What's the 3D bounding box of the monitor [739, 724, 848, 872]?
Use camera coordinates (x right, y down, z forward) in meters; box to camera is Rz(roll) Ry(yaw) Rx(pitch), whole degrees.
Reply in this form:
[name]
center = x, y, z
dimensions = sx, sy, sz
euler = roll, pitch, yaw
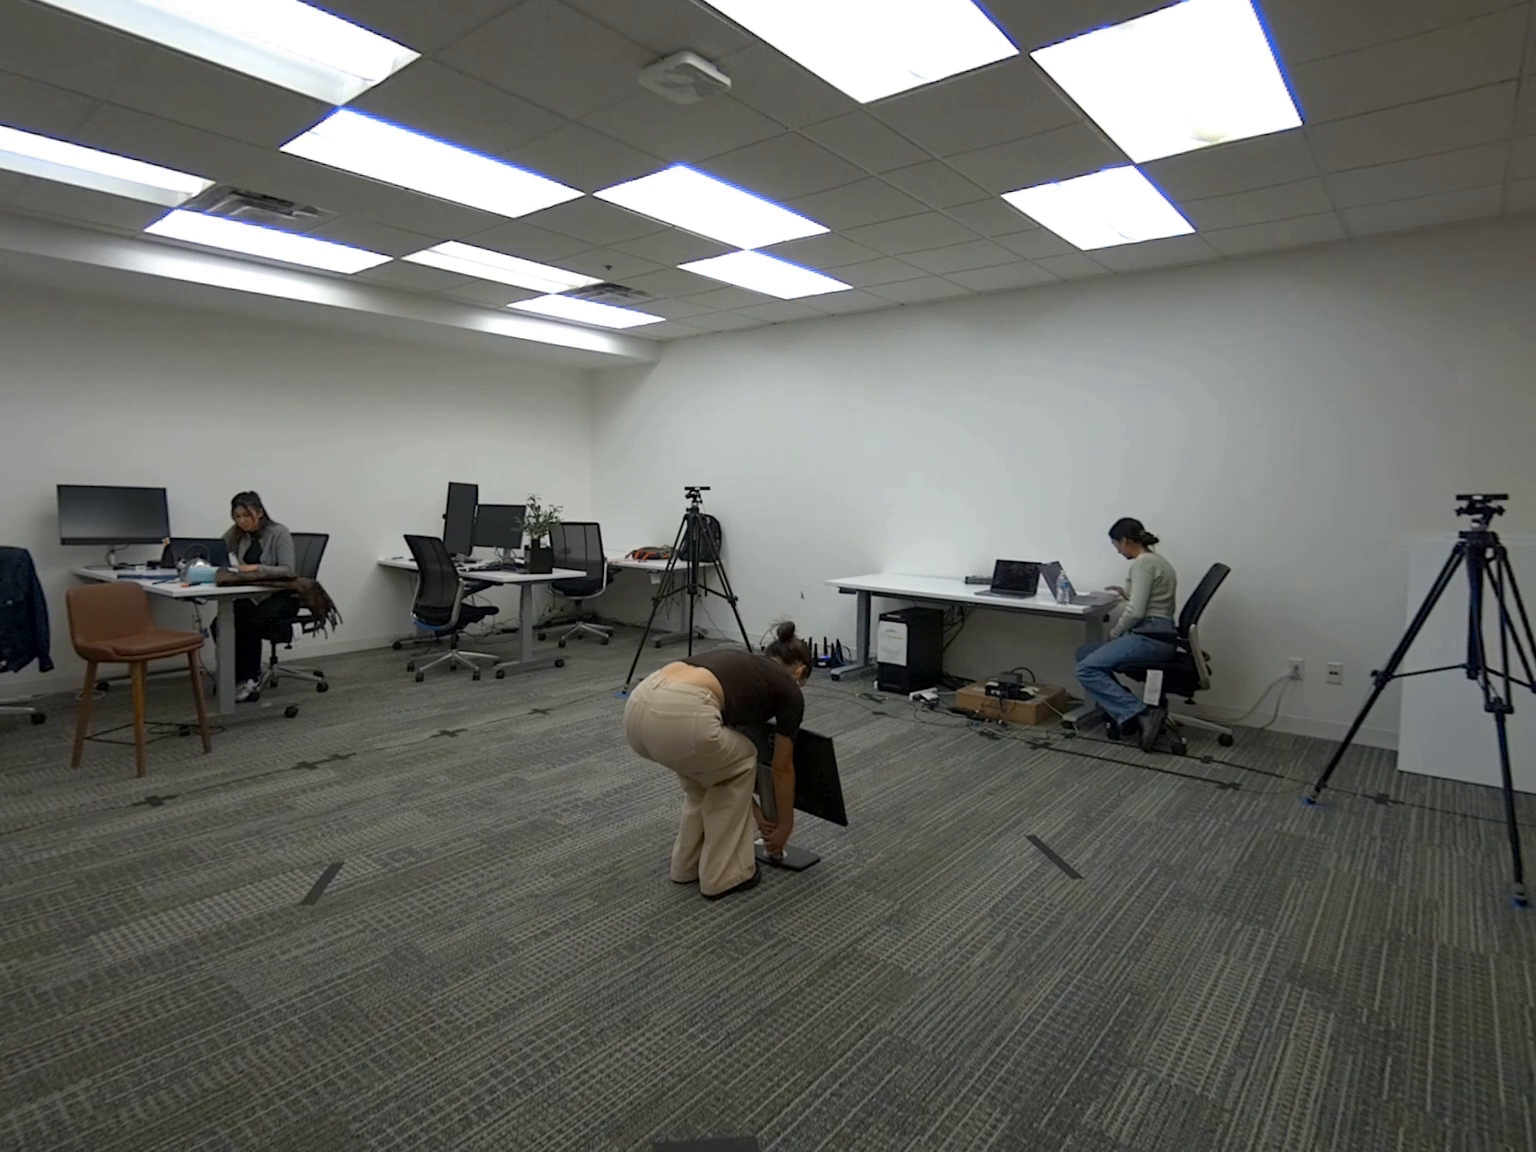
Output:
[monitor]
center = 0.042, 0.810, 3.200
dimensions = 0.181, 0.521, 0.557
euler = -3, 4, -44
